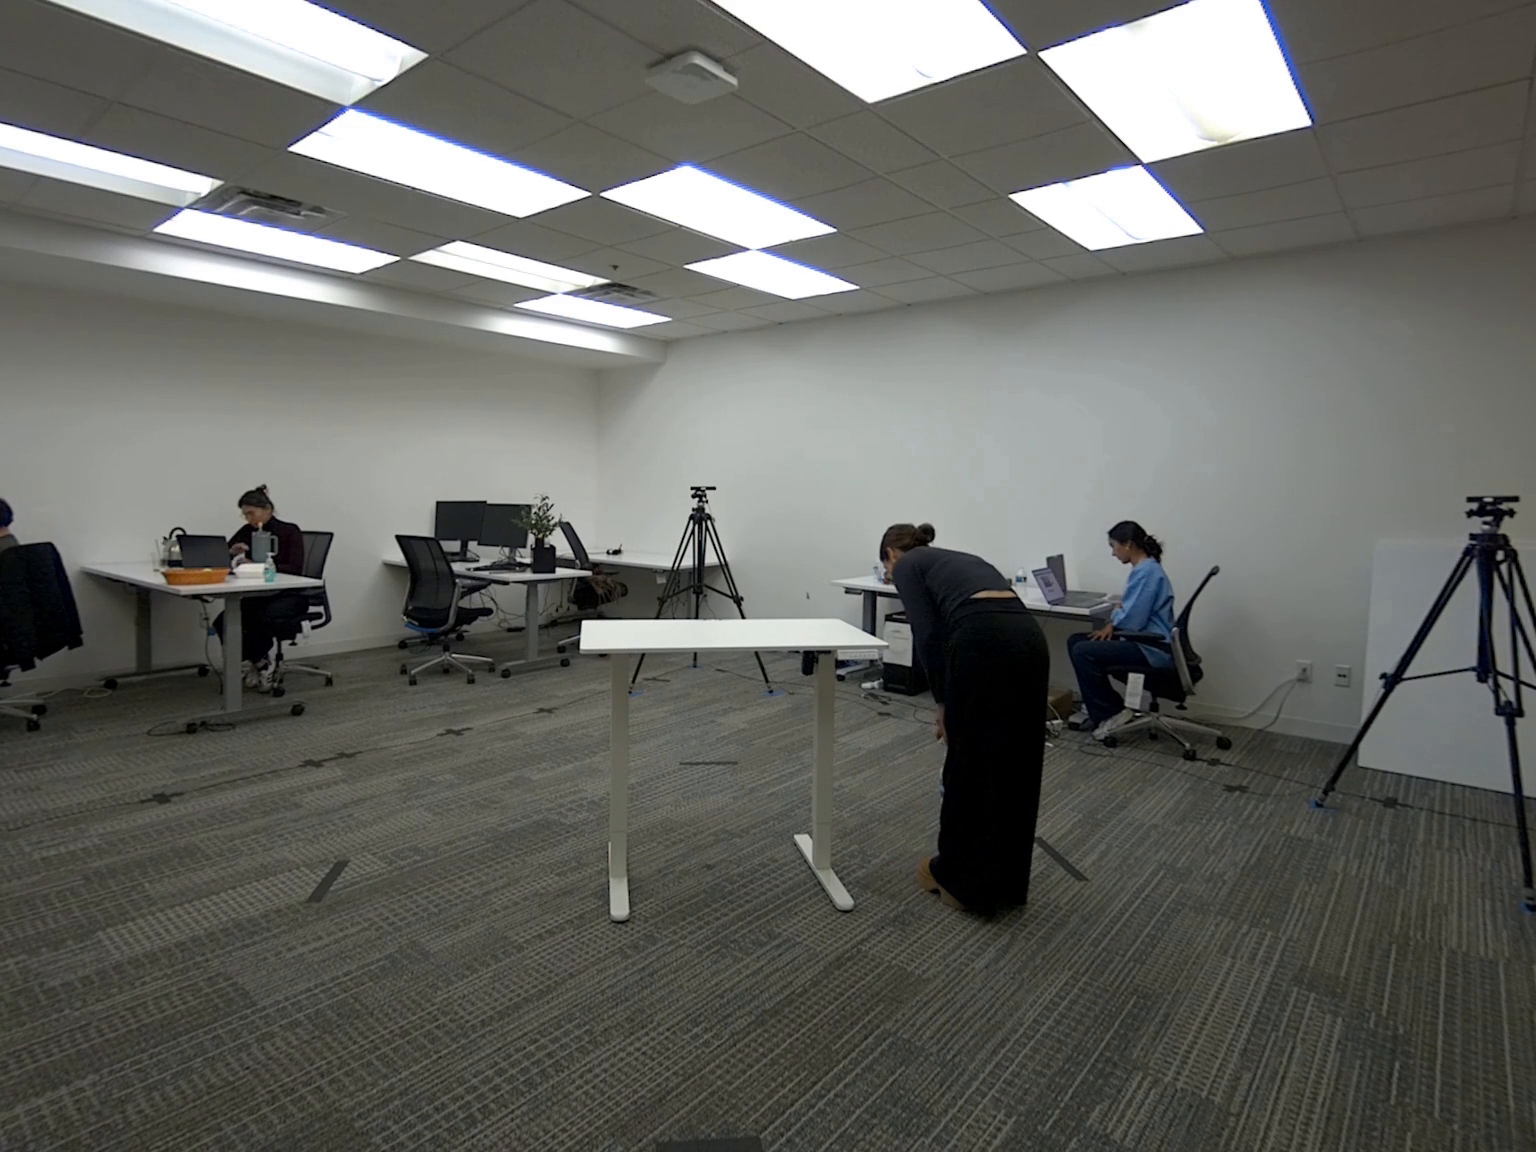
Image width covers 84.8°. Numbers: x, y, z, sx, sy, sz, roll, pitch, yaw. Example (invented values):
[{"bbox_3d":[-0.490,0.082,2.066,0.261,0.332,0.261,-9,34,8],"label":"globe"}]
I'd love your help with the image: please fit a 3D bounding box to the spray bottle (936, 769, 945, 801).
[{"bbox_3d":[0.691,0.746,3.215,0.093,0.297,0.084,0,2,33],"label":"spray bottle"}]
